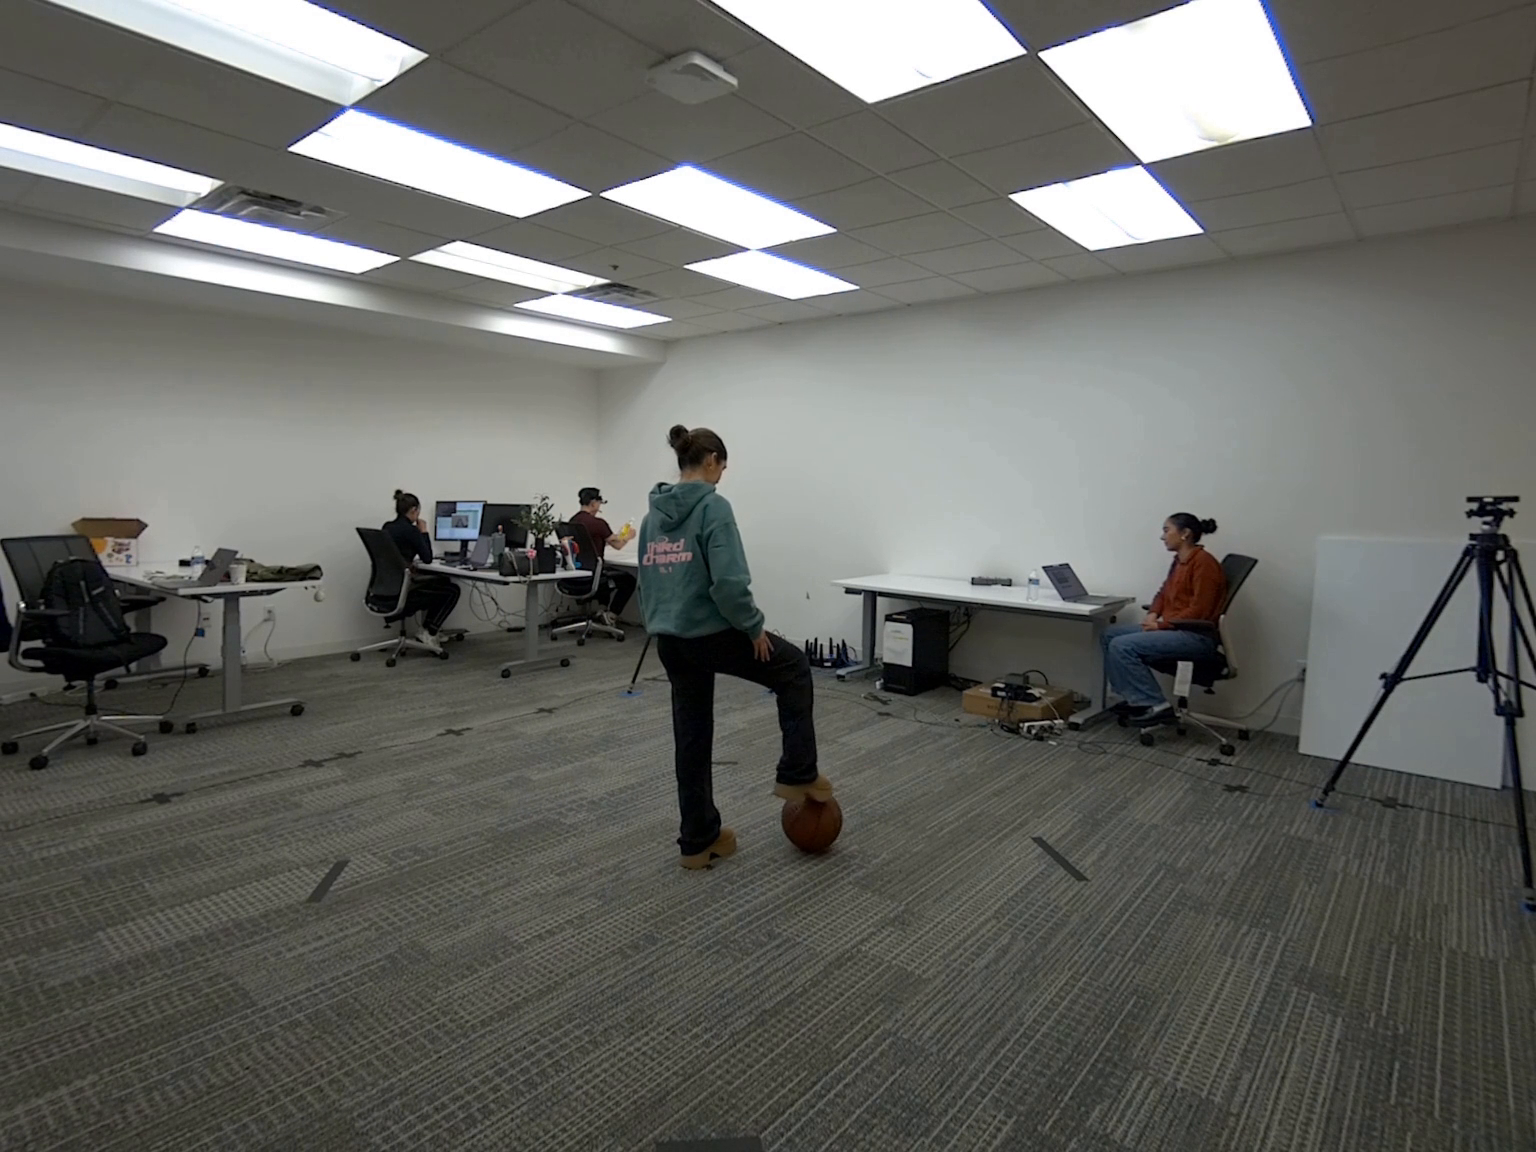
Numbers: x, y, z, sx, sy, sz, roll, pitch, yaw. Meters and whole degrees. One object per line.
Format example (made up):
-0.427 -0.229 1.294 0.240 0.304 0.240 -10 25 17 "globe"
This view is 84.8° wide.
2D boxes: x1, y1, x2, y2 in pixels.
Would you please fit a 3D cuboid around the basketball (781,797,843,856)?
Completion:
0.160 0.936 3.299 0.236 0.235 0.237 1 4 -2 "basketball"
